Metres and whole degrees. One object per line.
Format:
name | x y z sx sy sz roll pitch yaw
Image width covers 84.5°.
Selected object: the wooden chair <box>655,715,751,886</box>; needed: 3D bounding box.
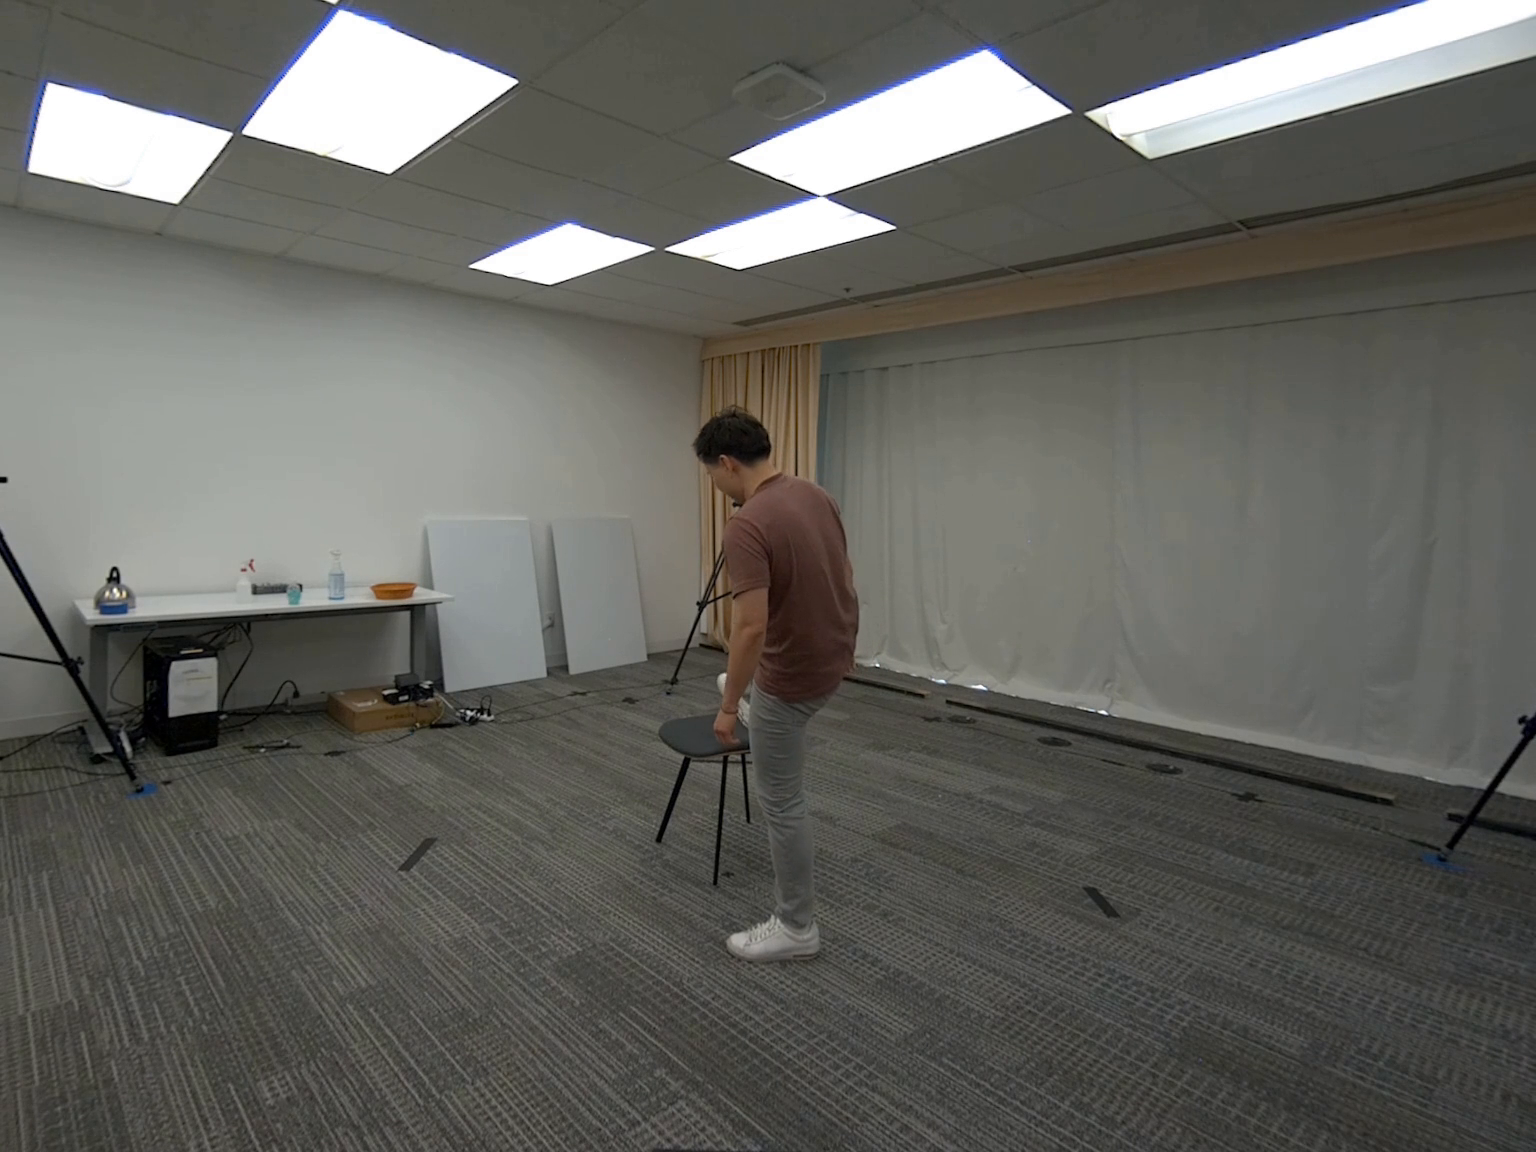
wooden chair | -0.137 0.659 3.279 0.511 0.877 0.489 4 1 -35
